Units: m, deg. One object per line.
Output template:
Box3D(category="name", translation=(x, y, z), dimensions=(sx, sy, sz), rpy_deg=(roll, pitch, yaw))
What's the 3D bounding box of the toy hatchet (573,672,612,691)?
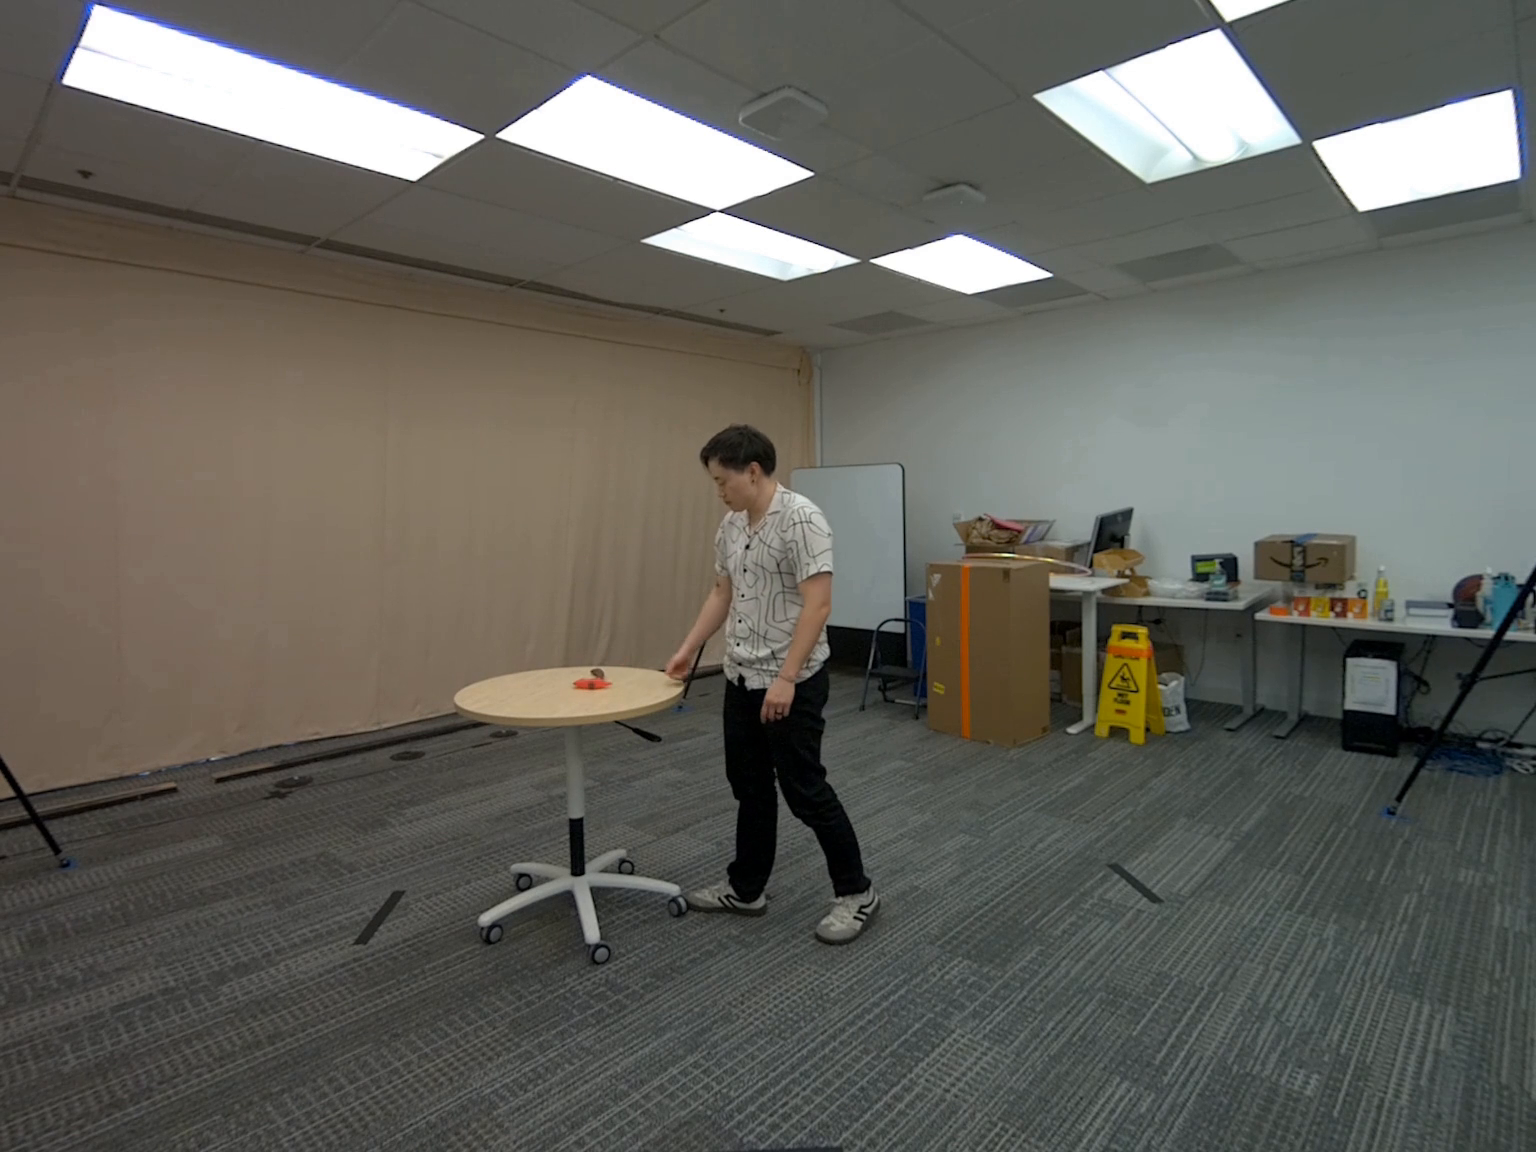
Box3D(category="toy hatchet", translation=(-0.631, 0.364, 2.954), dimensions=(0.129, 0.029, 0.275), rpy_deg=(-7, 5, -18))
